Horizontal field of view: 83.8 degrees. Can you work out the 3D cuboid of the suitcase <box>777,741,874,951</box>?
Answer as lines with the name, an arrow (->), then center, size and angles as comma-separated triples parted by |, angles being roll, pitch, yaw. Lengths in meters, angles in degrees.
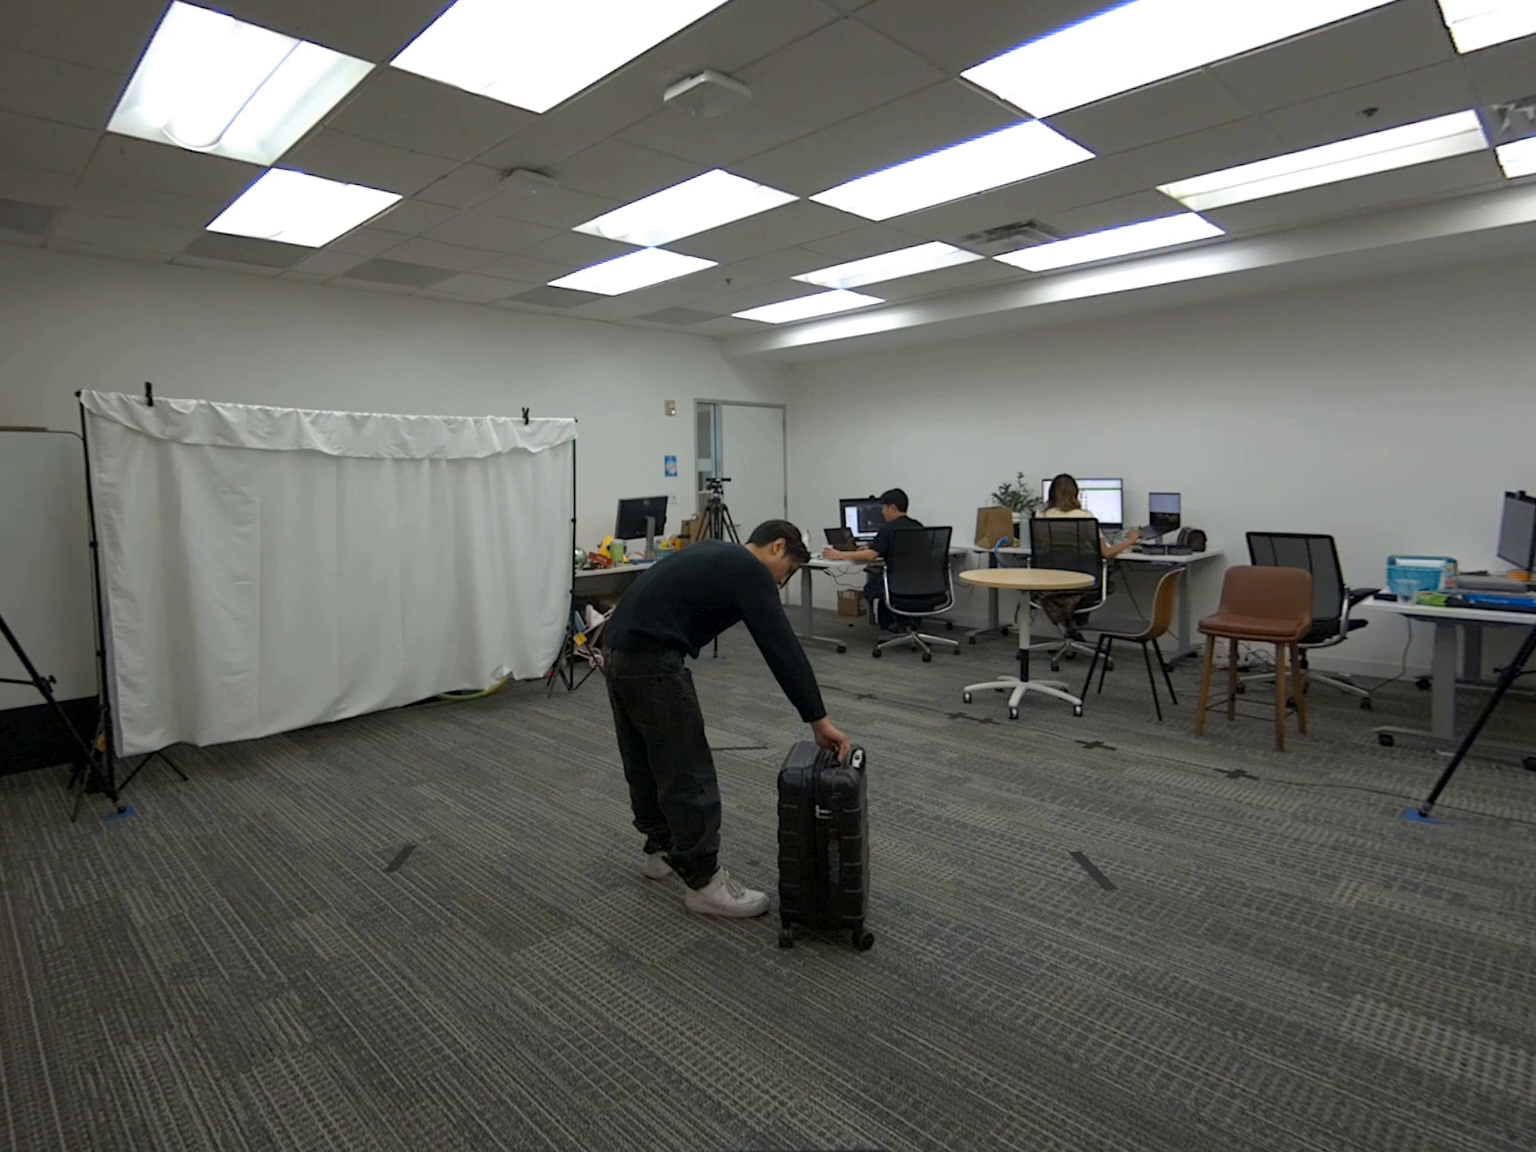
suitcase -> 0.173, 0.805, 2.675 | 0.251, 0.547, 0.372 | -1, 6, 12
